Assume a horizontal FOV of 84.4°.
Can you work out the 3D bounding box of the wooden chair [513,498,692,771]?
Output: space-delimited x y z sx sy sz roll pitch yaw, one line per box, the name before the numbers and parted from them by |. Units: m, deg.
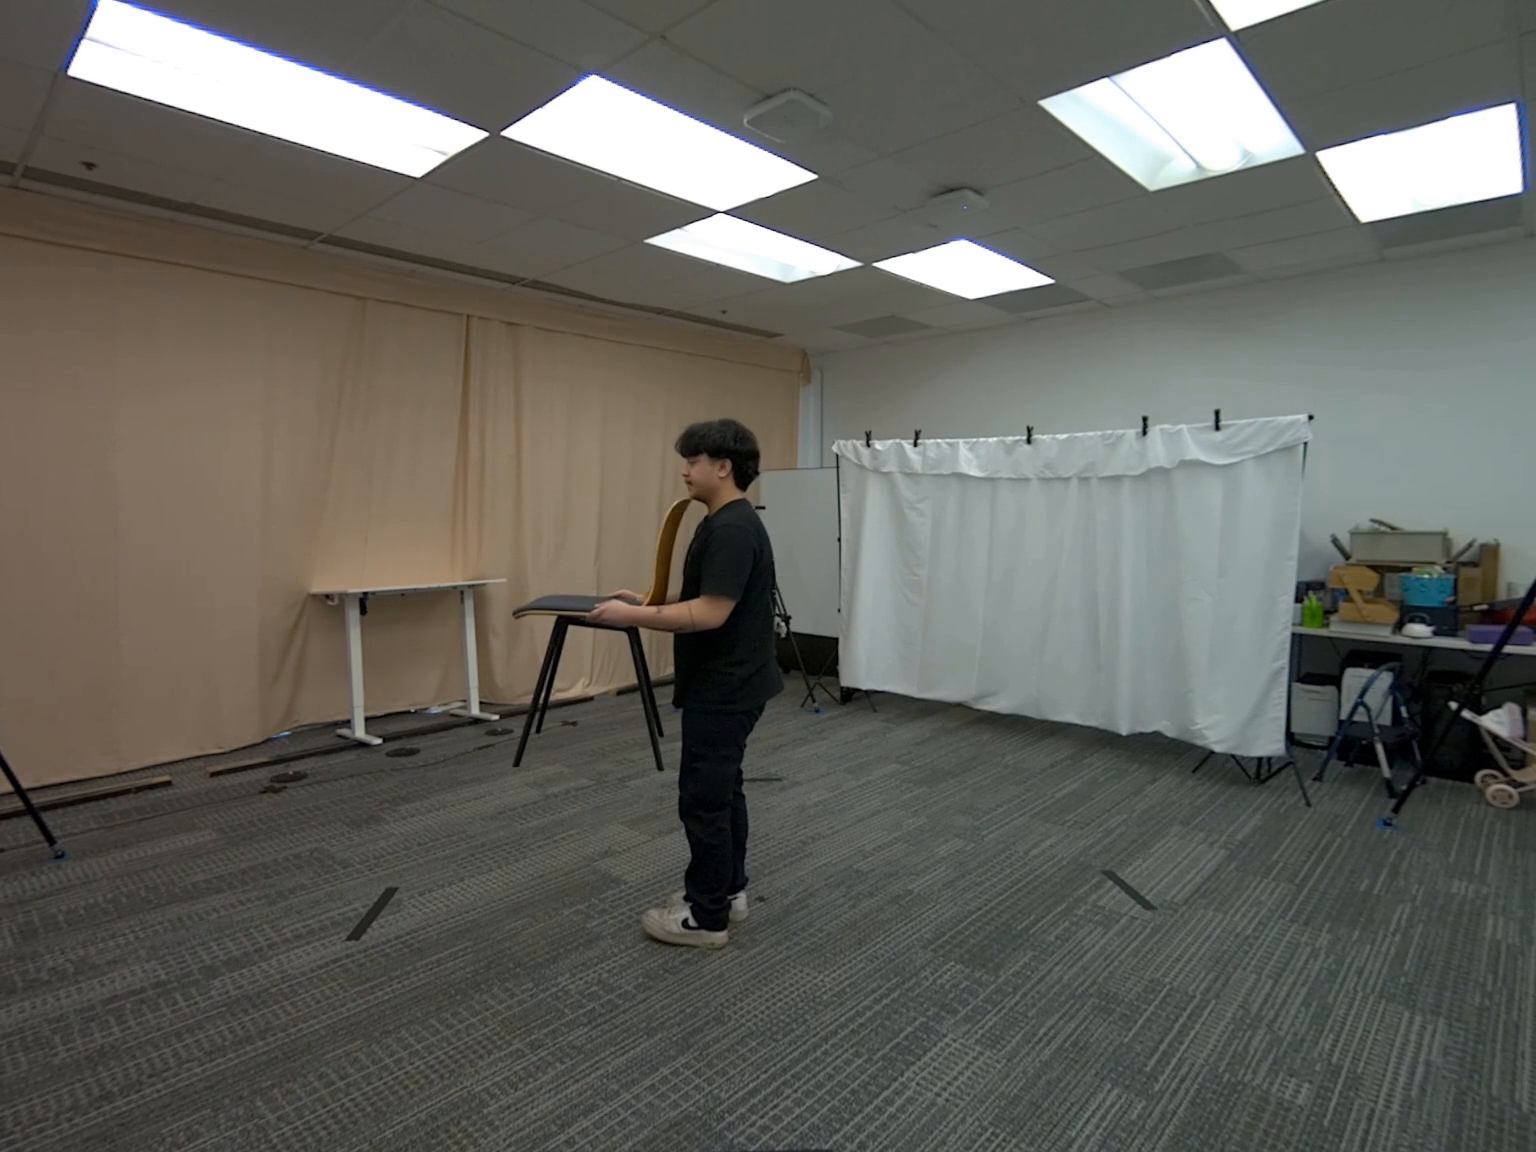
wooden chair | -0.550 0.156 2.753 0.520 0.877 0.481 6 1 -5
